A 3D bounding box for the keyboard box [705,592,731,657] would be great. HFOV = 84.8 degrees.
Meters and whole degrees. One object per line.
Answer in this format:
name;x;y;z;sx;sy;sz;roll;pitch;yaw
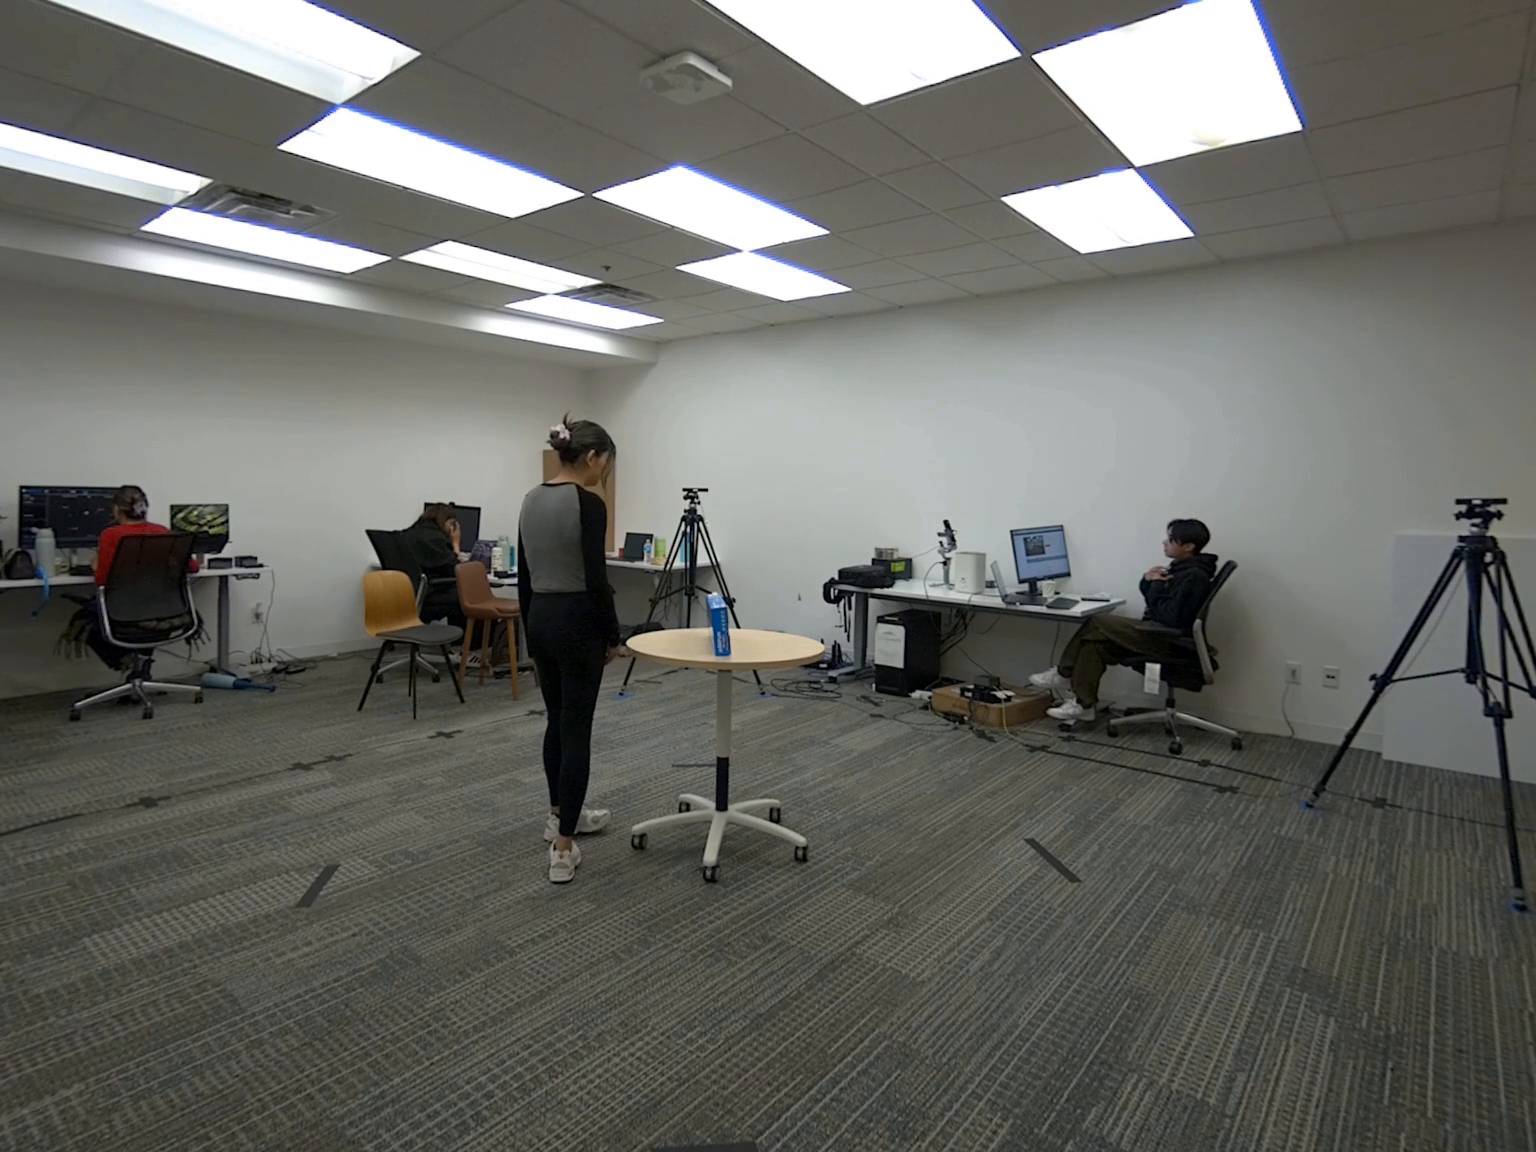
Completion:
keyboard box;-0.205;0.169;3.235;0.059;0.175;0.441;-3;6;-7
